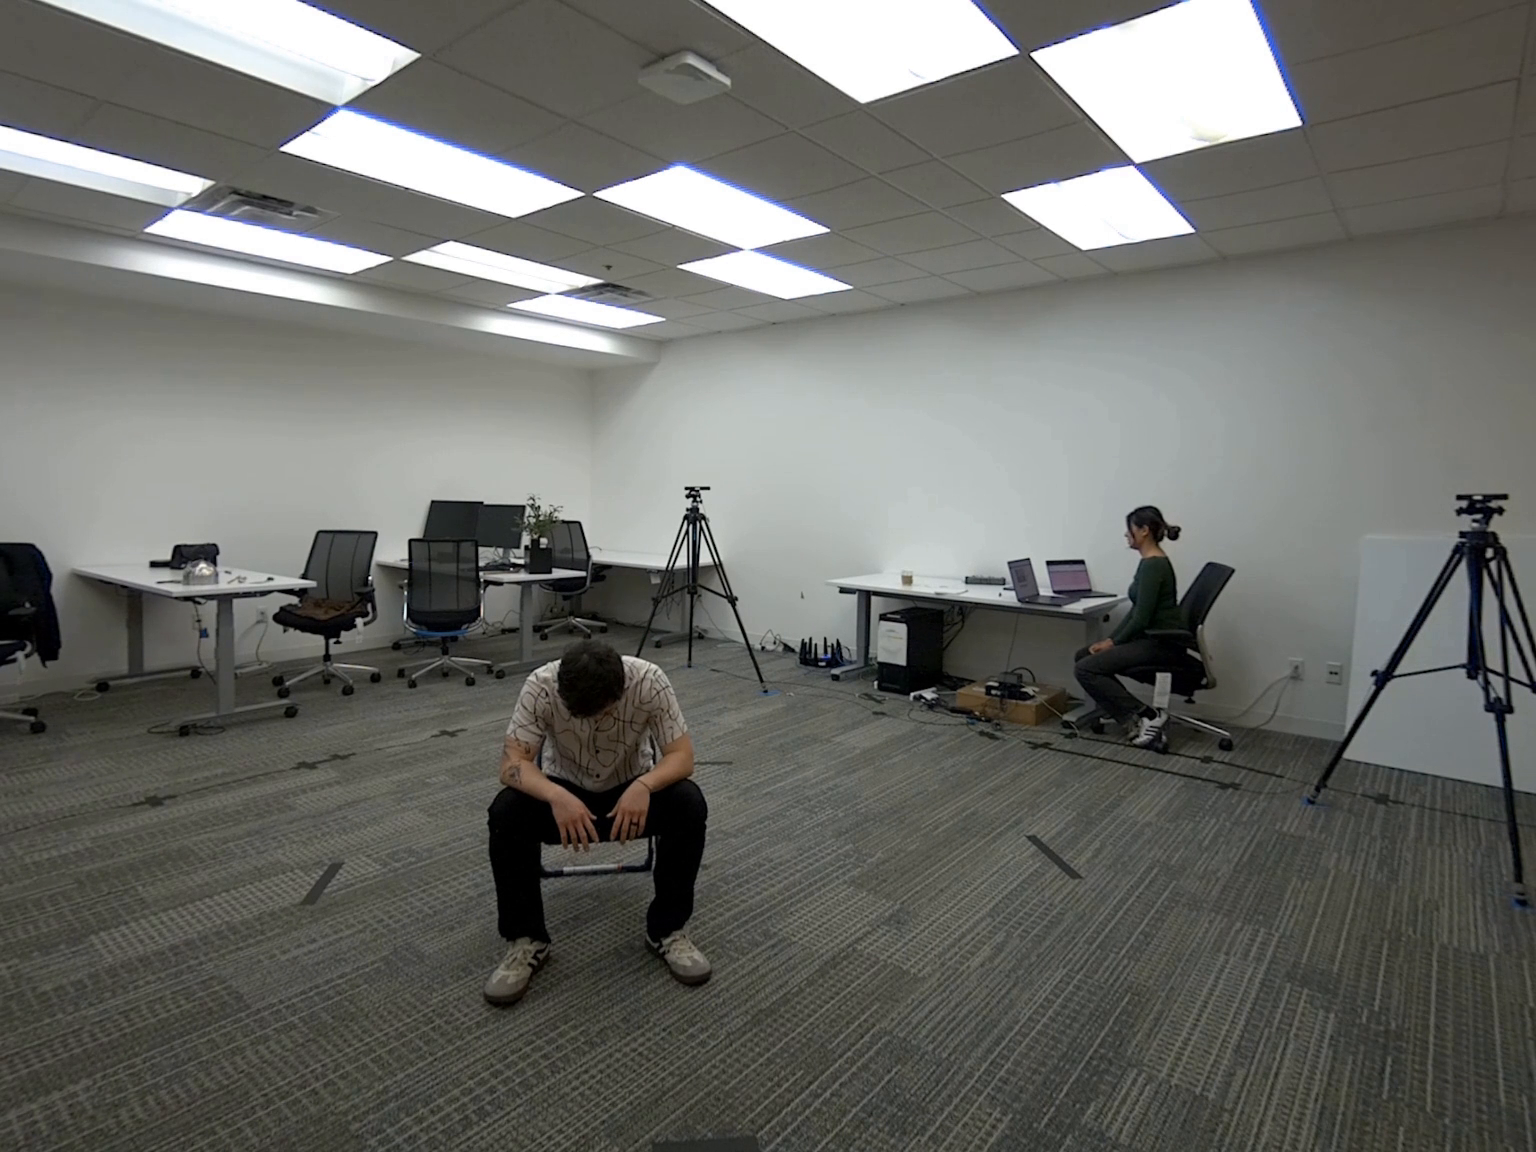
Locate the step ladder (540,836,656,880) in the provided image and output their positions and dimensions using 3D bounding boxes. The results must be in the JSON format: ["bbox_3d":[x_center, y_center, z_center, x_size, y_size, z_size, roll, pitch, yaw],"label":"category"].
[{"bbox_3d":[-0.586,0.782,2.887,0.425,0.604,0.355,0,3,-13],"label":"step ladder"}]
